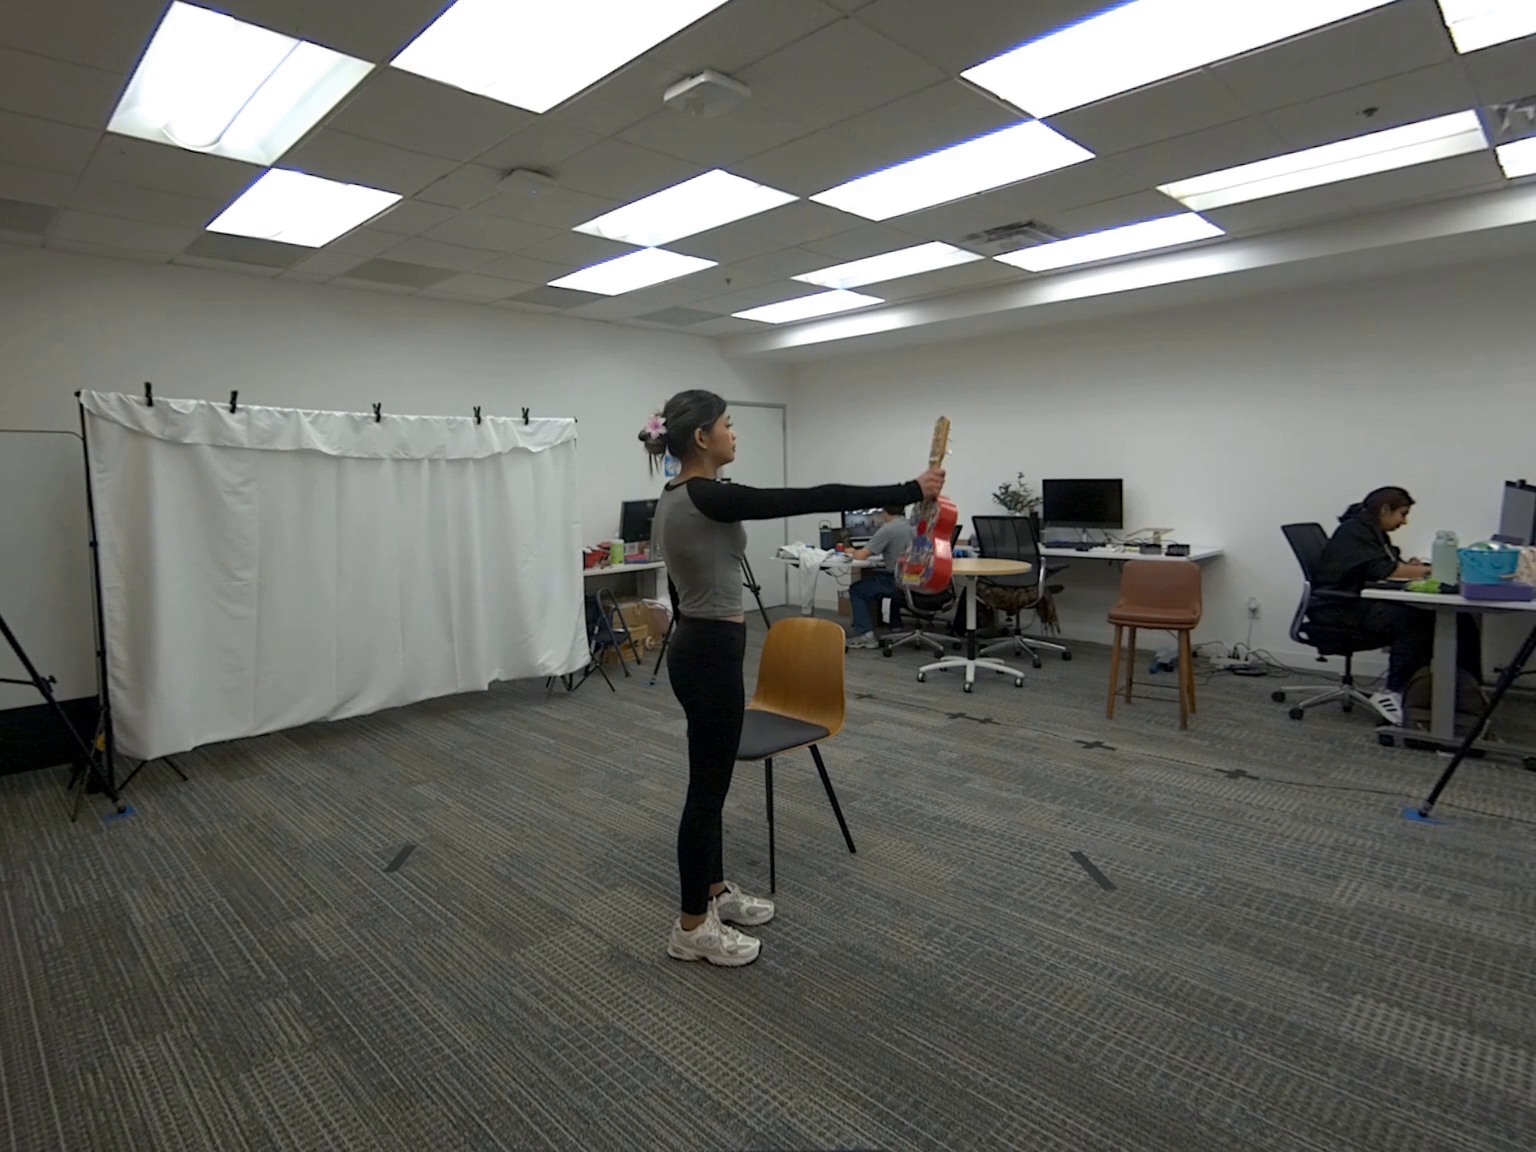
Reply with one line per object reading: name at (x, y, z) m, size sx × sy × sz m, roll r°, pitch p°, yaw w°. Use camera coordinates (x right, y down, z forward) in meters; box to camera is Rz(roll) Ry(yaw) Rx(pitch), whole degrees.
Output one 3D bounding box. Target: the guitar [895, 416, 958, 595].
guitar at (0.473, -0.189, 2.368) m, size 0.069 × 0.496 × 0.197 m, roll 13°, pitch 5°, yaw -19°
